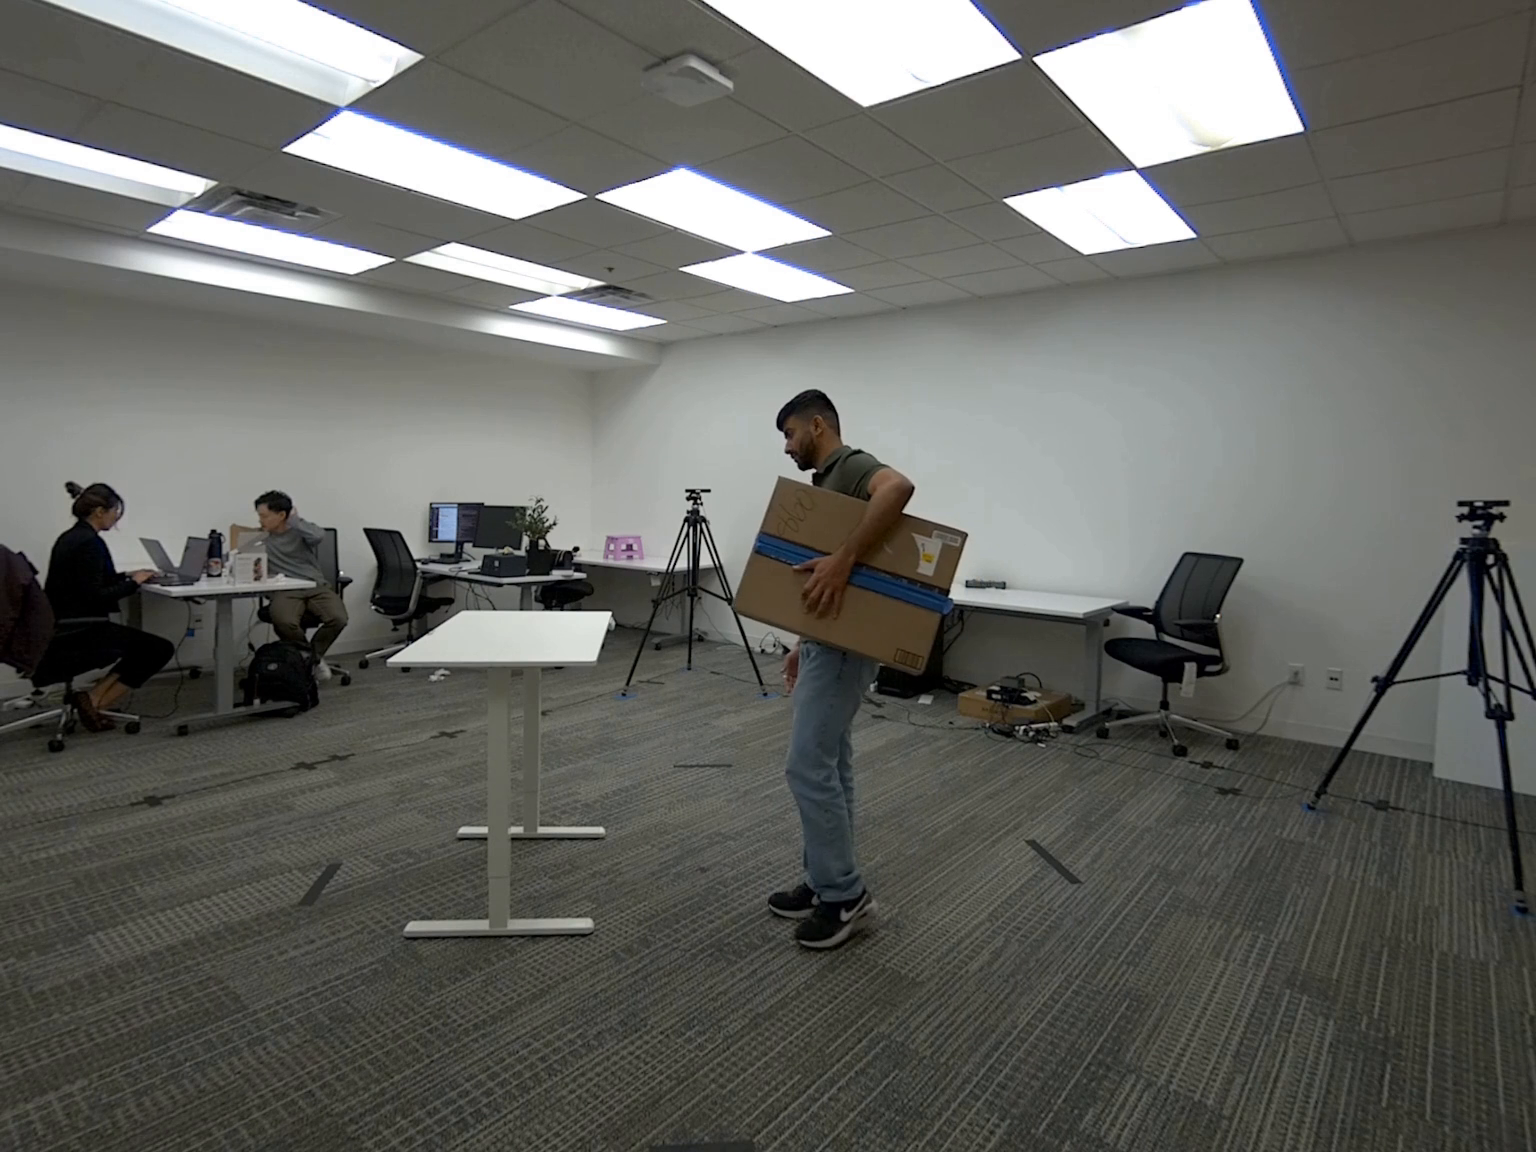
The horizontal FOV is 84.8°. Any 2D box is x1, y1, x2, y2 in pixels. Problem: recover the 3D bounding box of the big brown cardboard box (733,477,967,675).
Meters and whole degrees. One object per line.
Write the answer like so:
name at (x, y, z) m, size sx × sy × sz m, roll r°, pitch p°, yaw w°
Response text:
big brown cardboard box at (0.234, 0.002, 2.509) m, size 0.597 × 0.419 × 0.229 m, roll 17°, pitch -7°, yaw 11°
